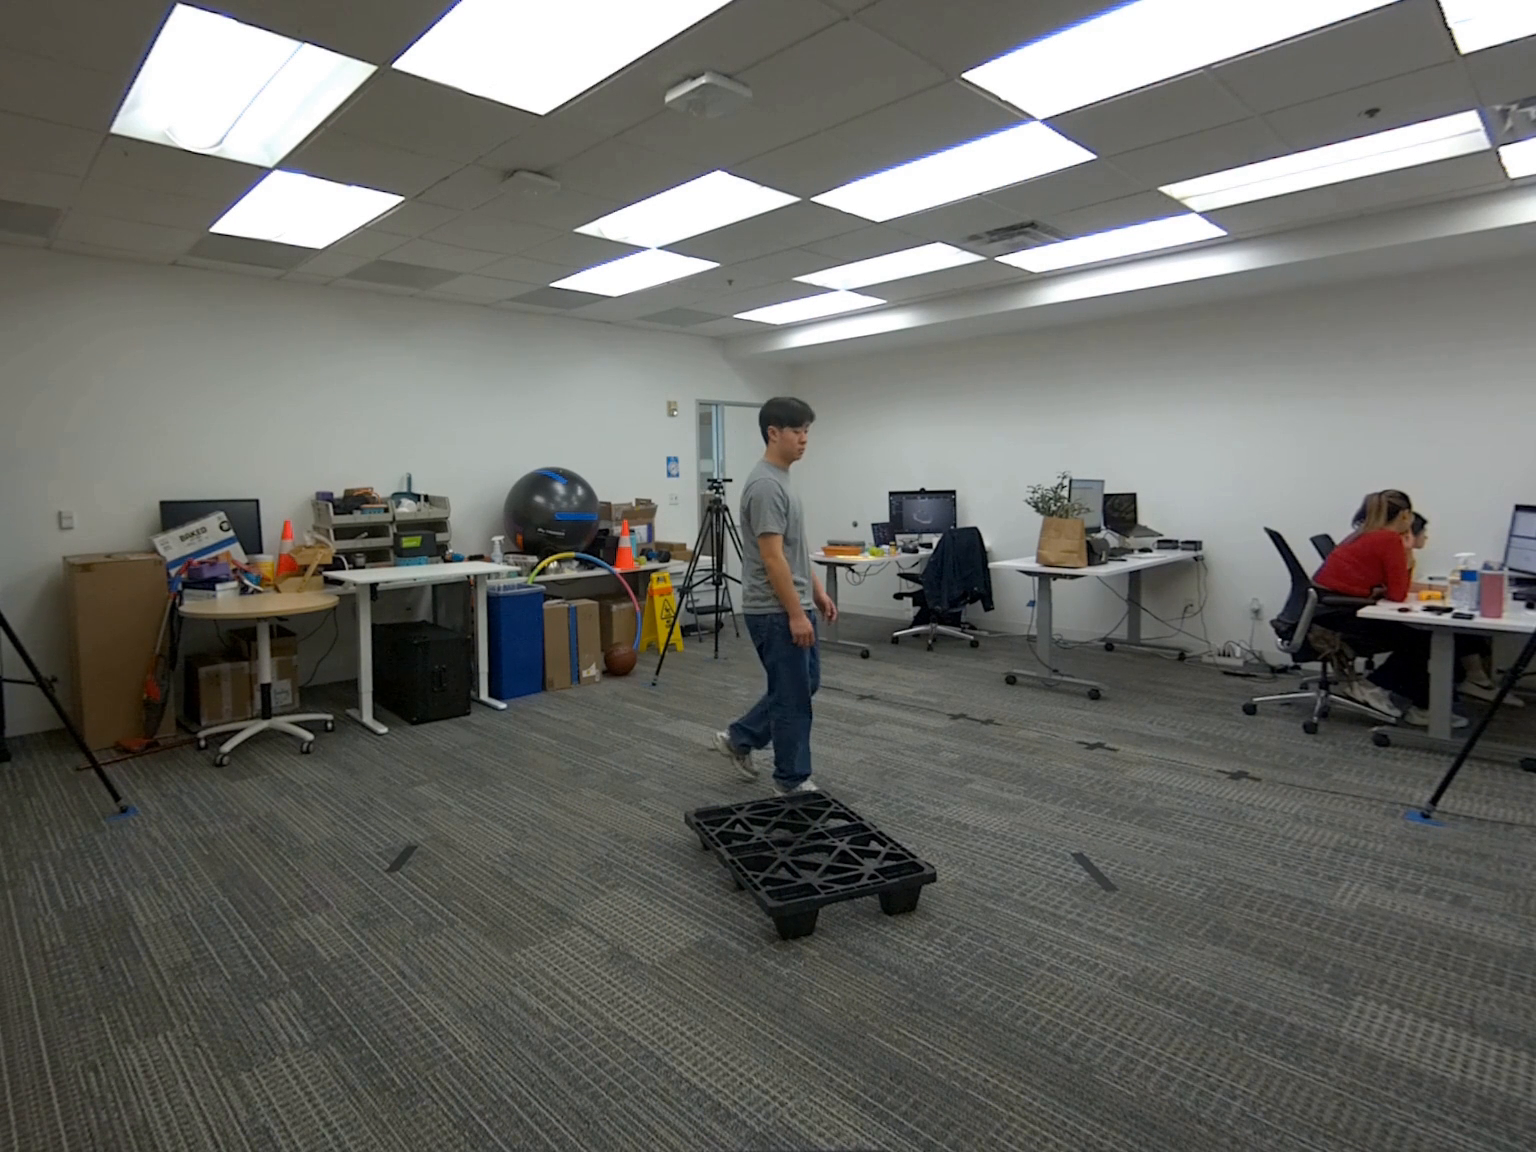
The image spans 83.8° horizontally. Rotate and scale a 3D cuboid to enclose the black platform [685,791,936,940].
[{"bbox_3d":[0.112,0.987,2.997,0.594,0.142,0.825,-5,7,-23],"label":"black platform"}]
